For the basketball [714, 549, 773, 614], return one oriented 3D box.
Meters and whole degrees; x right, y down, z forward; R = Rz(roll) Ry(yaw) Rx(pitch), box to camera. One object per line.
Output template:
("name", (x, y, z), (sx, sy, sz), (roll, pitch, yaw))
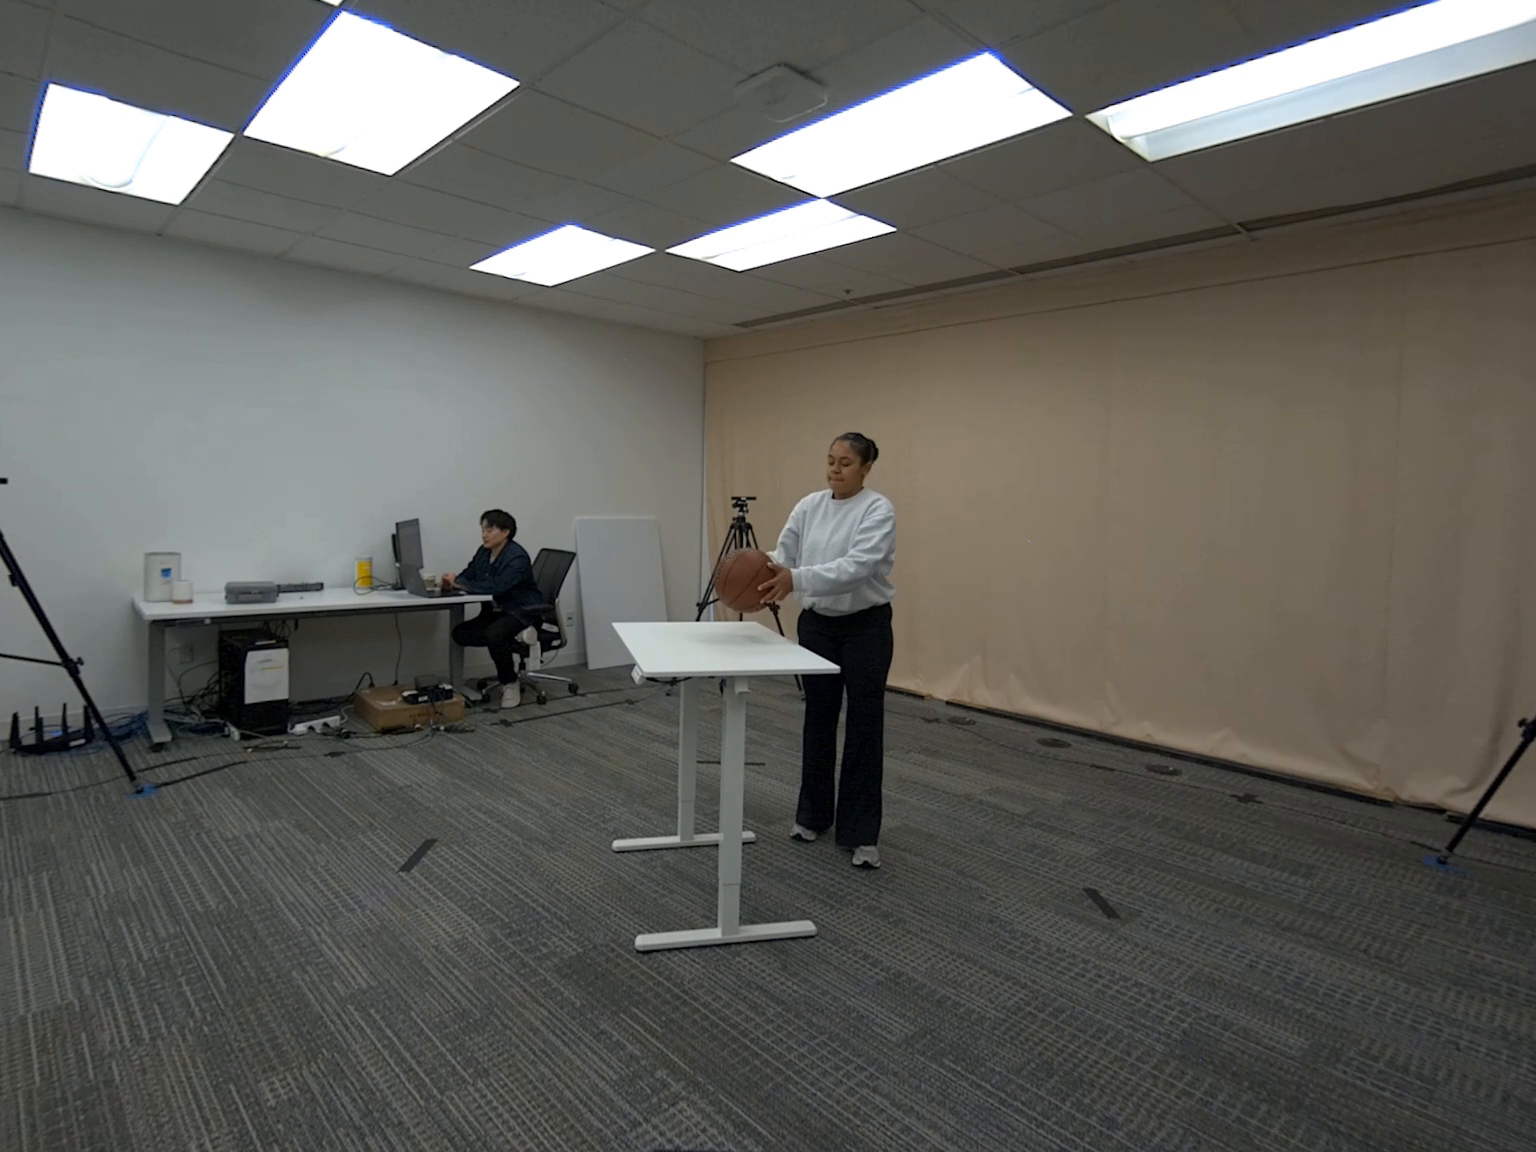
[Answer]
("basketball", (-0.080, 0.024, 3.066), (0.236, 0.235, 0.237), (1, 4, -1))
